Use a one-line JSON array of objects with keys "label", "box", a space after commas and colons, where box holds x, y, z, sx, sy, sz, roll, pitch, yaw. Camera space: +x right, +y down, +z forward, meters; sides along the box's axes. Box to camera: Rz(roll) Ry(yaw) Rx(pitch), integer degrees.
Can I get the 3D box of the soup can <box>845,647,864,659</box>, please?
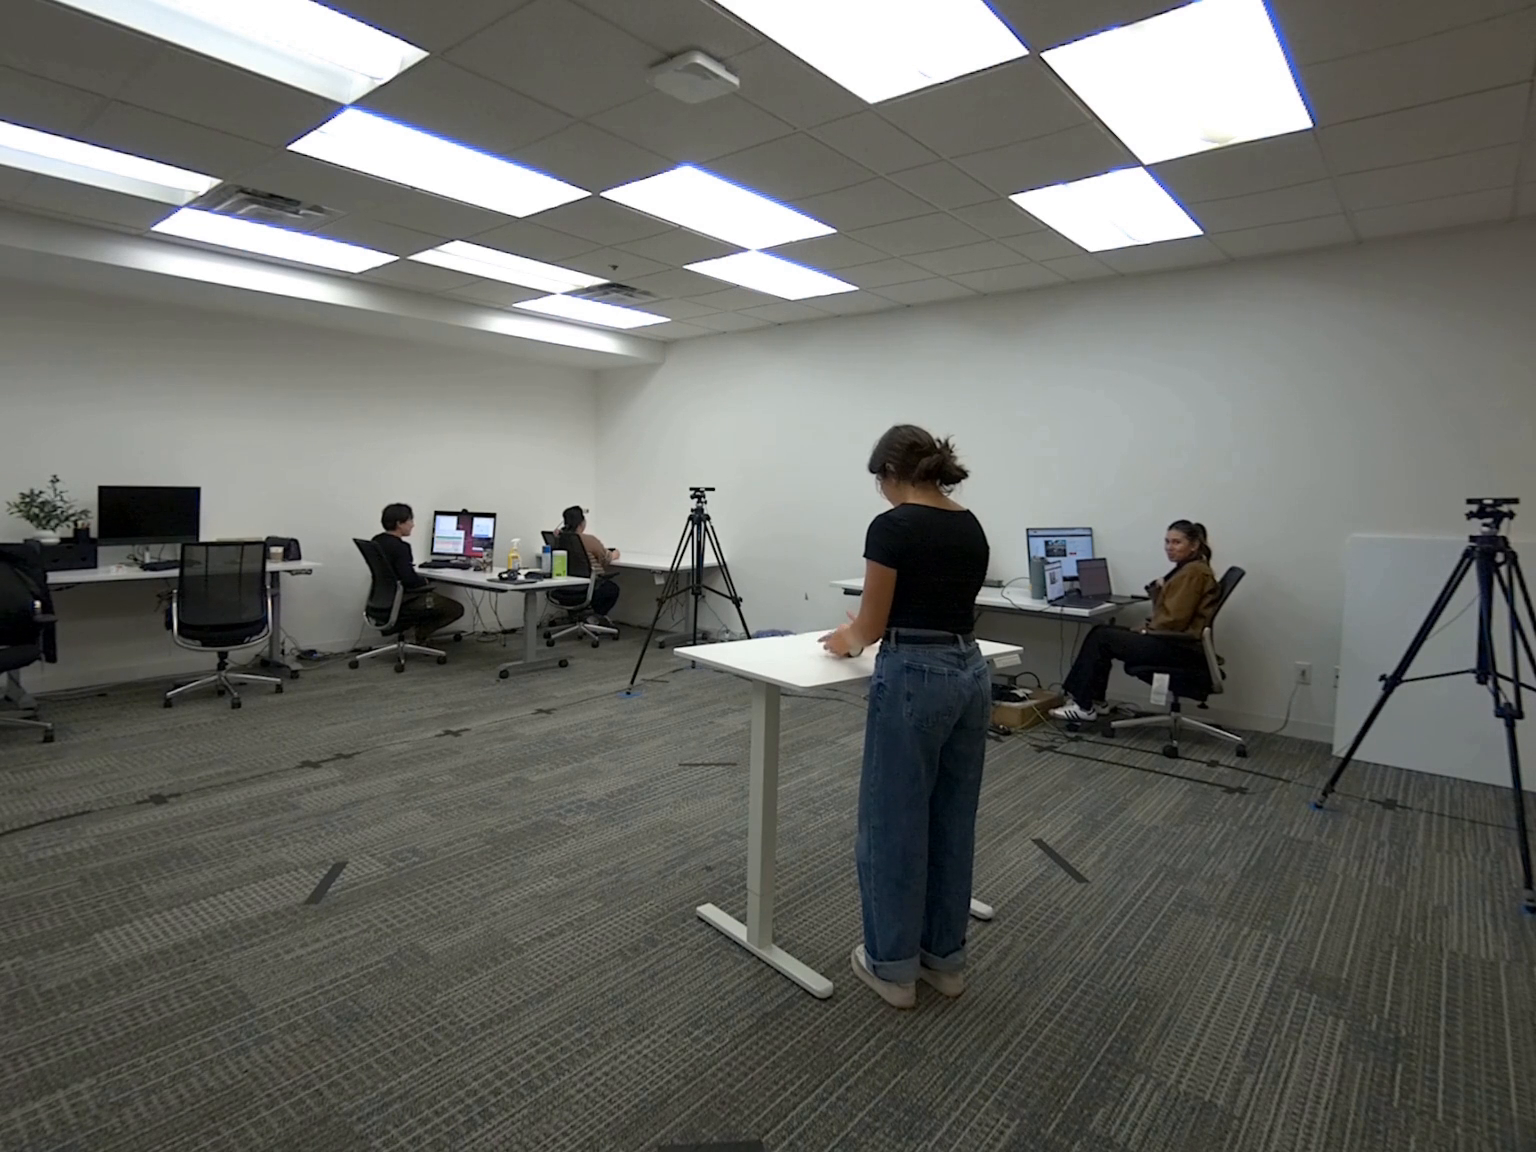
[{"label": "soup can", "box": [0.244, 0.206, 2.648, 0.124, 0.067, 0.066, 0, 3, 22]}]
